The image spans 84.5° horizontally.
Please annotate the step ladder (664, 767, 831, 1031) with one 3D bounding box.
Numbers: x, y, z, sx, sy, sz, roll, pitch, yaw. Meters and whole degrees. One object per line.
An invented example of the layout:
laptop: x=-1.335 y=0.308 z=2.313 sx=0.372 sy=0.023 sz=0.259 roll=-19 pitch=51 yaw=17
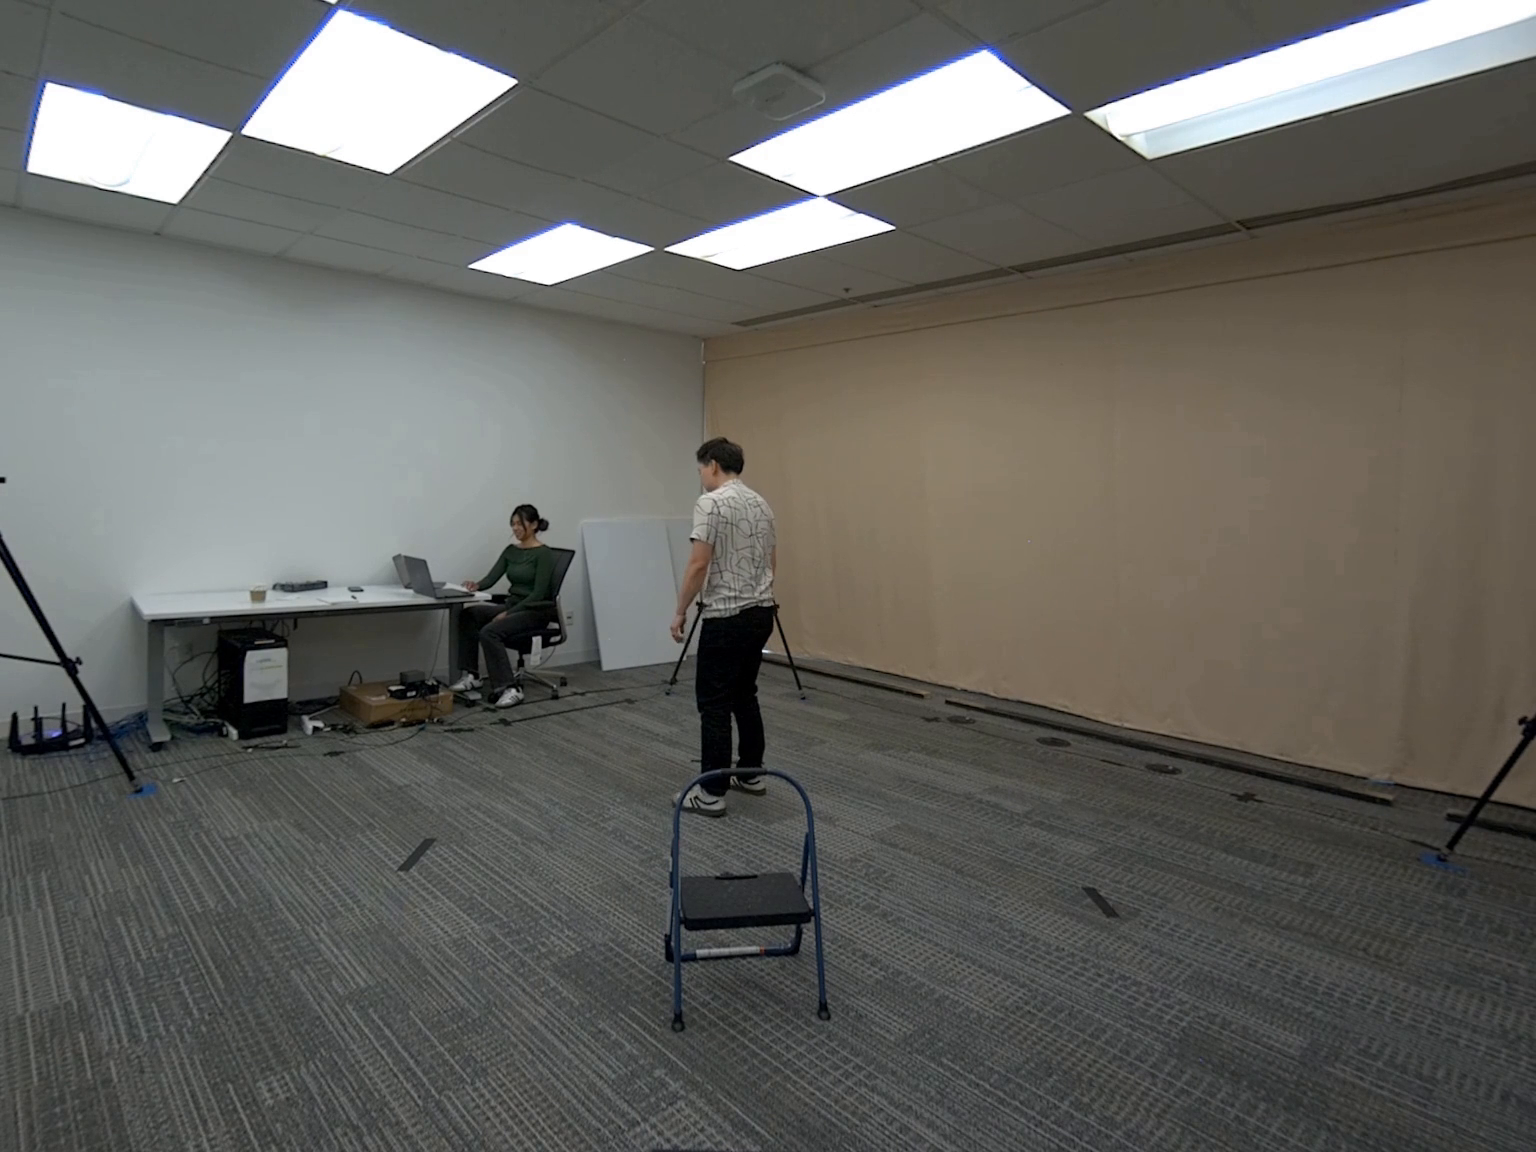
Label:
step ladder: x=-0.070 y=0.872 z=2.375 sx=0.427 sy=0.605 sz=0.353 roll=1 pitch=3 yaw=-11
